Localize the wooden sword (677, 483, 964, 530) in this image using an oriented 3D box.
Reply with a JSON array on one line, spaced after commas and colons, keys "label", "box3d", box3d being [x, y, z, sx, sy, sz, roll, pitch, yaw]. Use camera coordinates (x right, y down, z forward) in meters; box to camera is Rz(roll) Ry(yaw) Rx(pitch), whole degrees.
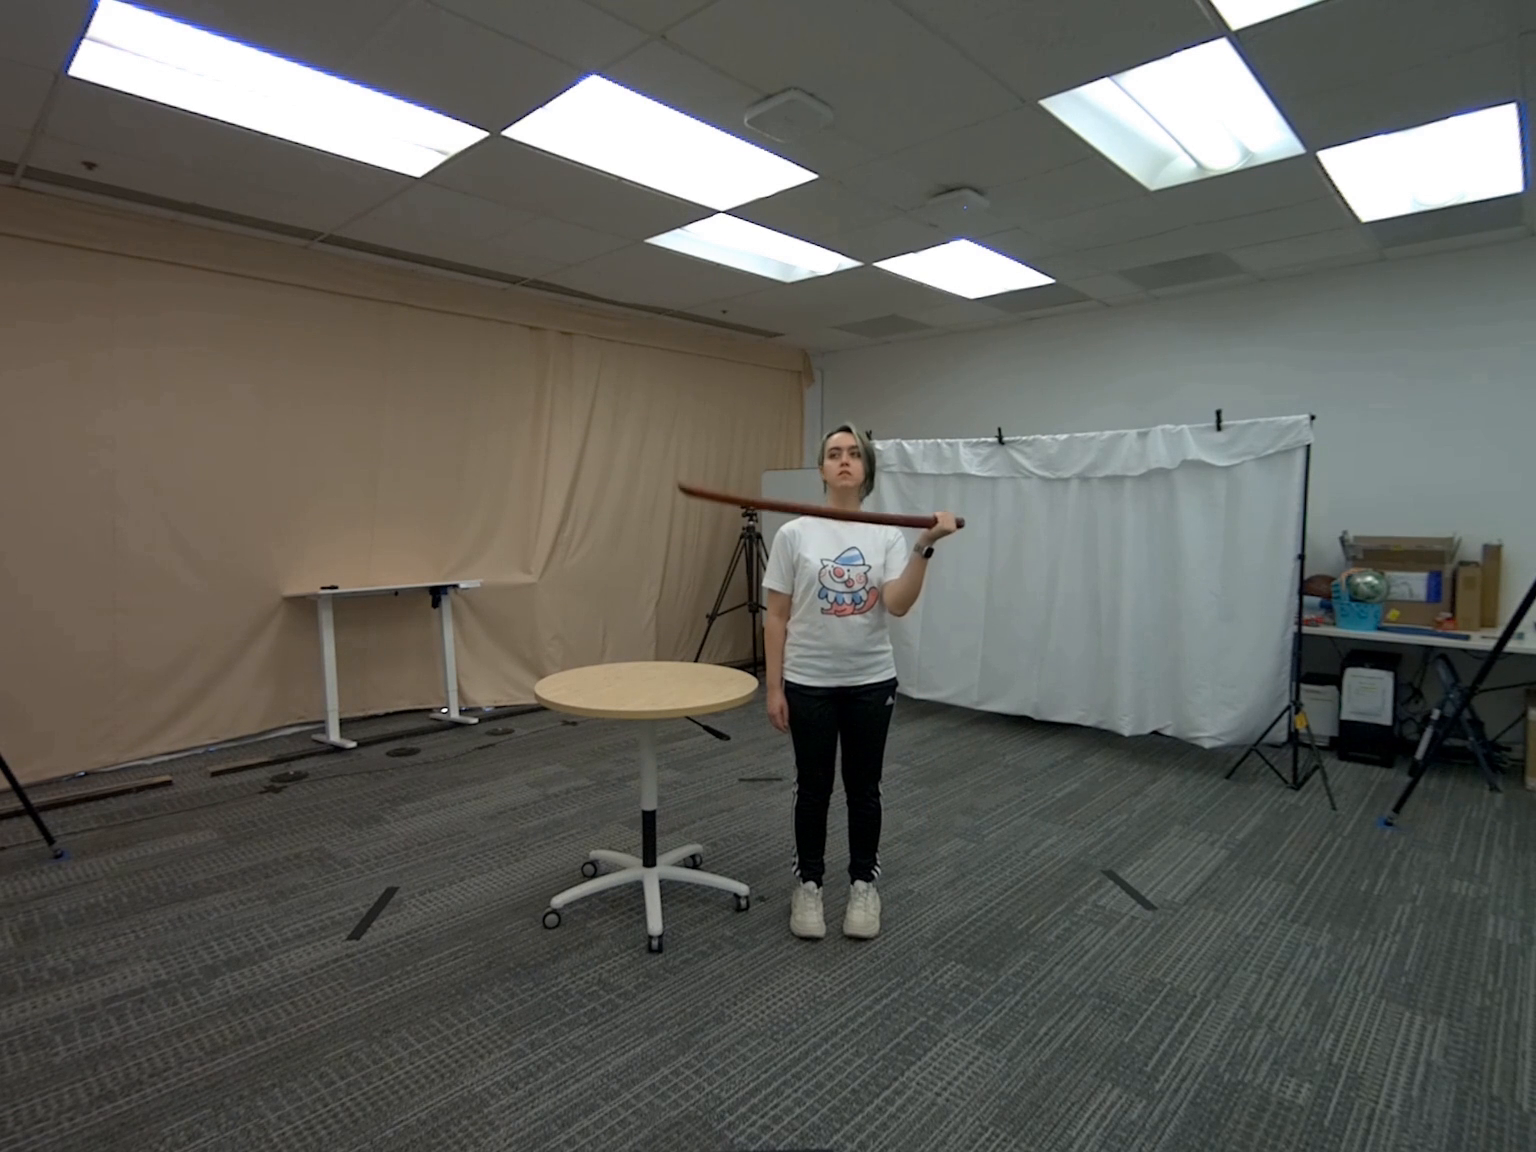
[{"label": "wooden sword", "box3d": [0.193, -0.169, 2.292, 0.993, 0.051, 0.025, 4, -4, -34]}]
